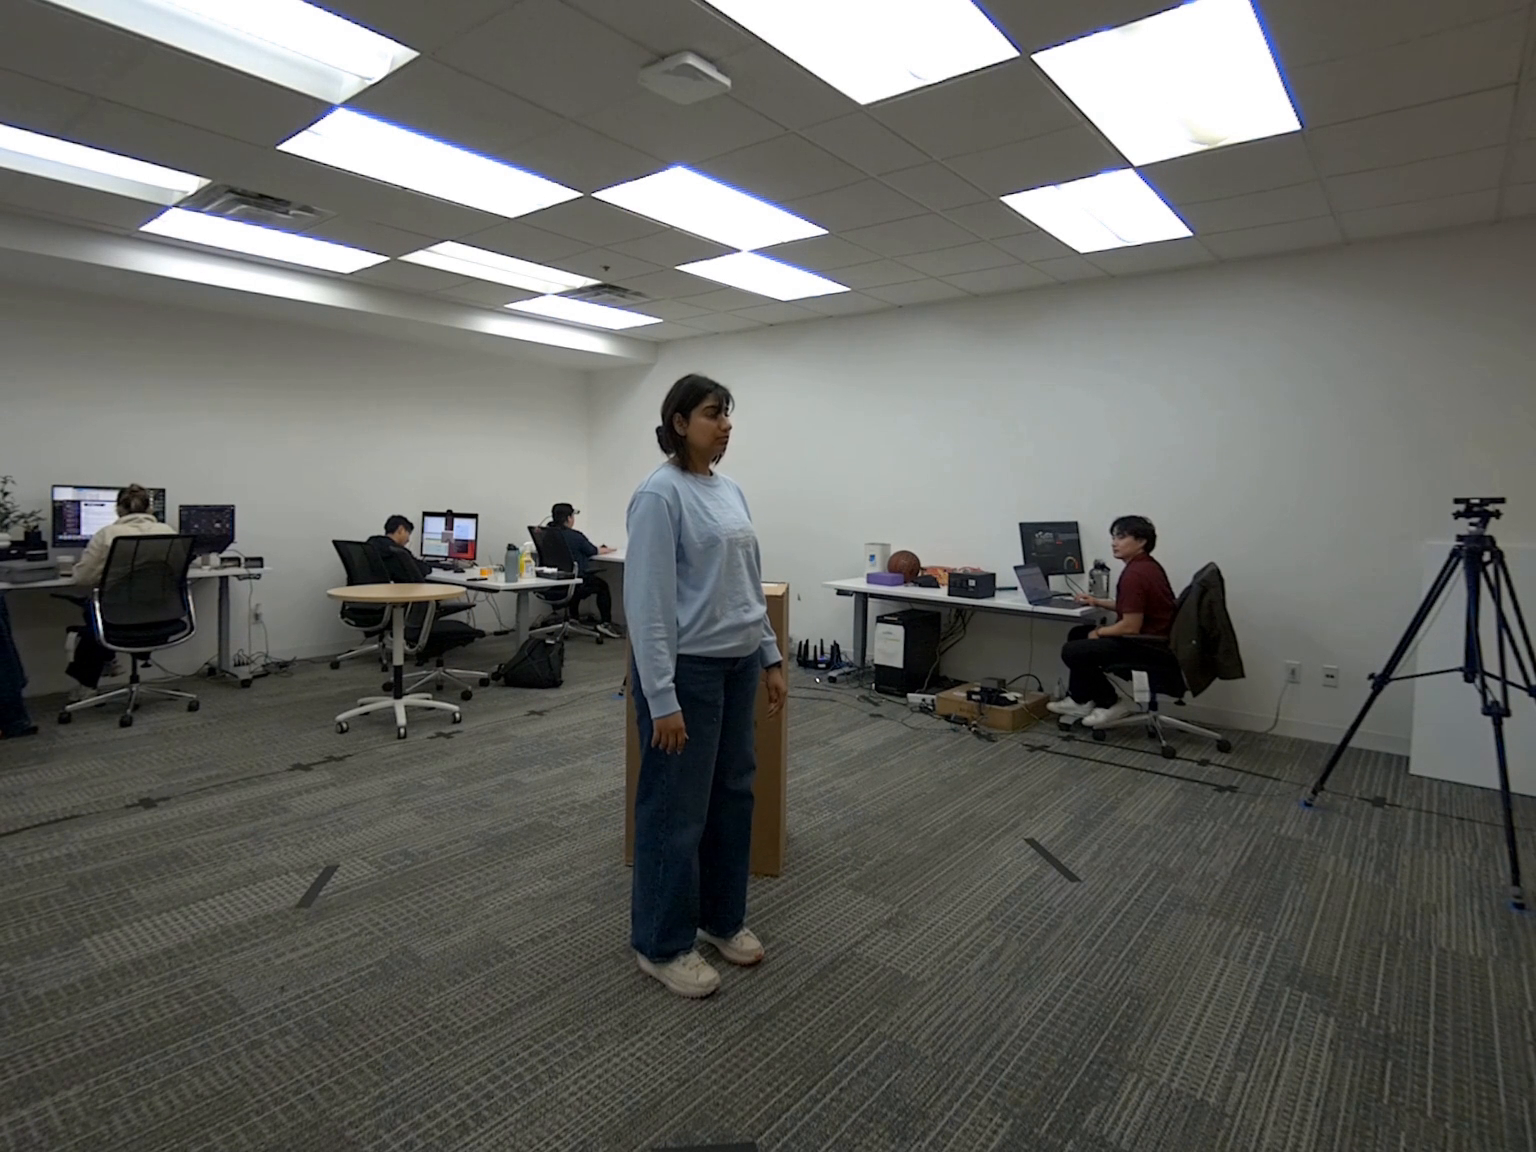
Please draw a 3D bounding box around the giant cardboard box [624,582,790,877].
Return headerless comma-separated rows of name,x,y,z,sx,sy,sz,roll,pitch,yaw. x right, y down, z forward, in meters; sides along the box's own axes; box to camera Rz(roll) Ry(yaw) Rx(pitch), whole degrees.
giant cardboard box,-0.224,0.542,3.277,0.582,1.023,0.424,1,3,6
